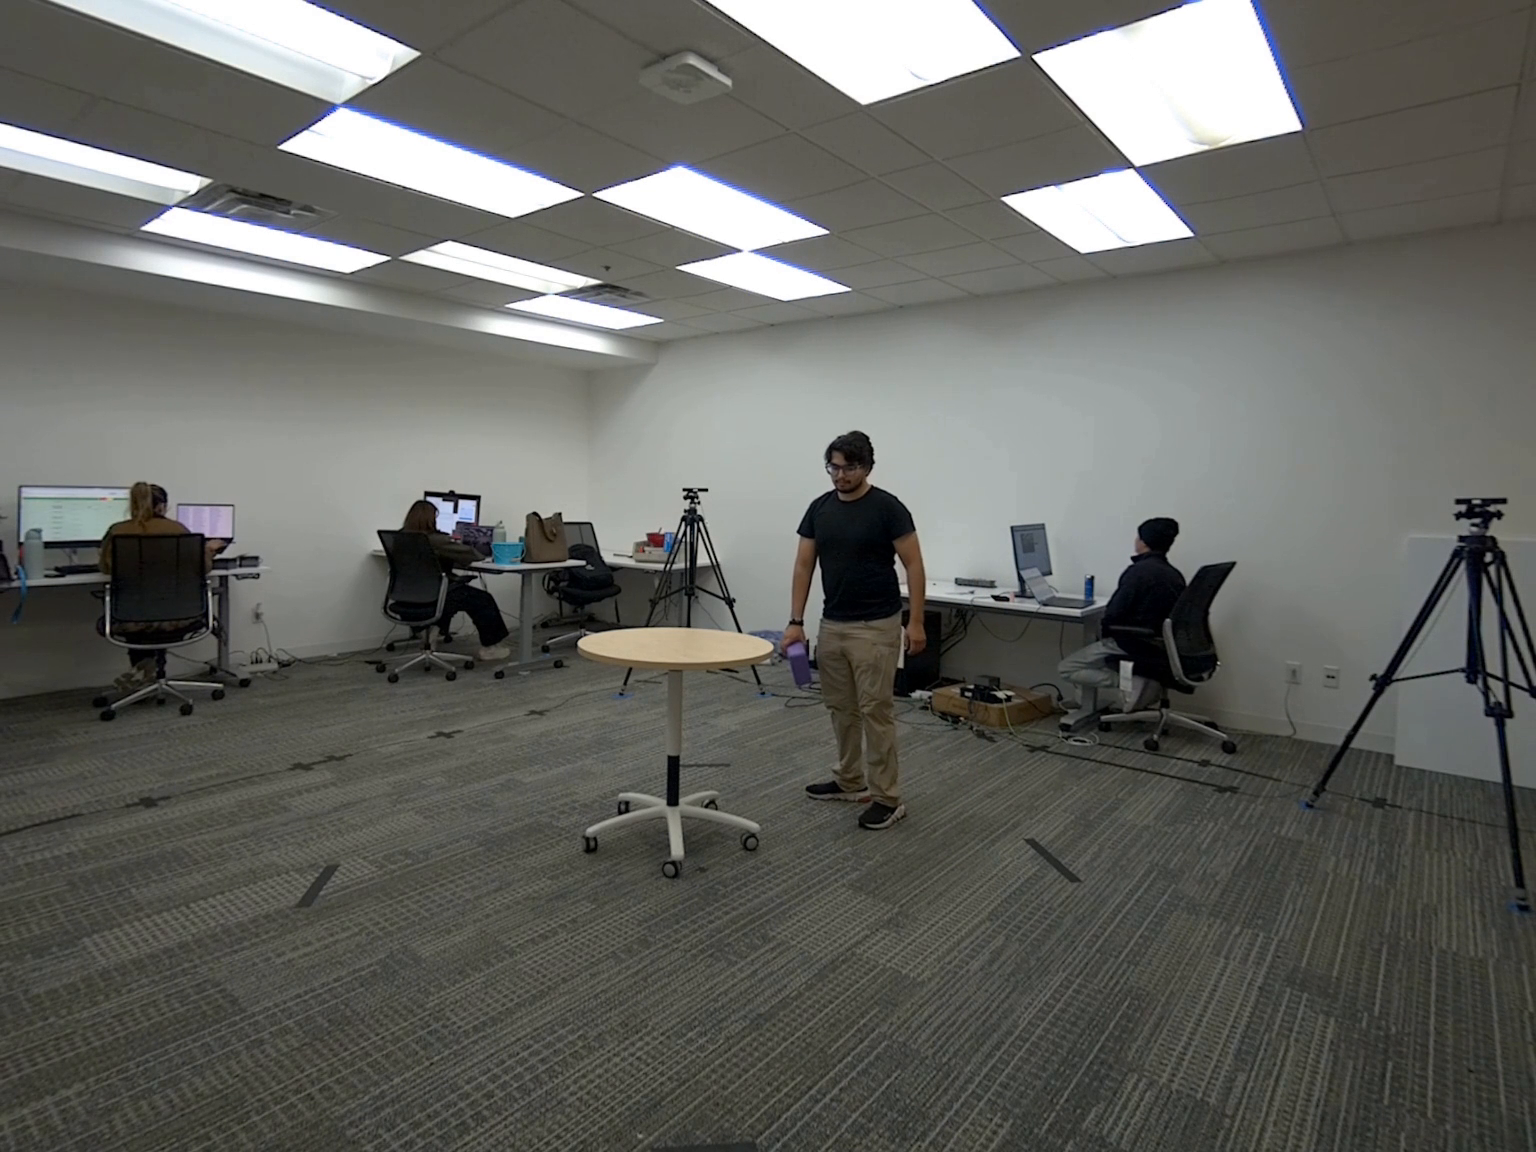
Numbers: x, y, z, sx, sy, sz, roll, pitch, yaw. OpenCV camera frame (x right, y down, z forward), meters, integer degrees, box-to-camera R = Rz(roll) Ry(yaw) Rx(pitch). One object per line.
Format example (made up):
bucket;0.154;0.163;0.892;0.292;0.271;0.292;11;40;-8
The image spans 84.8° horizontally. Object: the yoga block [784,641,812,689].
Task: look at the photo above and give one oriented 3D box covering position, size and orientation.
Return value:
yoga block;0.119;0.370;3.783;0.076;0.148;0.231;-14;9;-2
